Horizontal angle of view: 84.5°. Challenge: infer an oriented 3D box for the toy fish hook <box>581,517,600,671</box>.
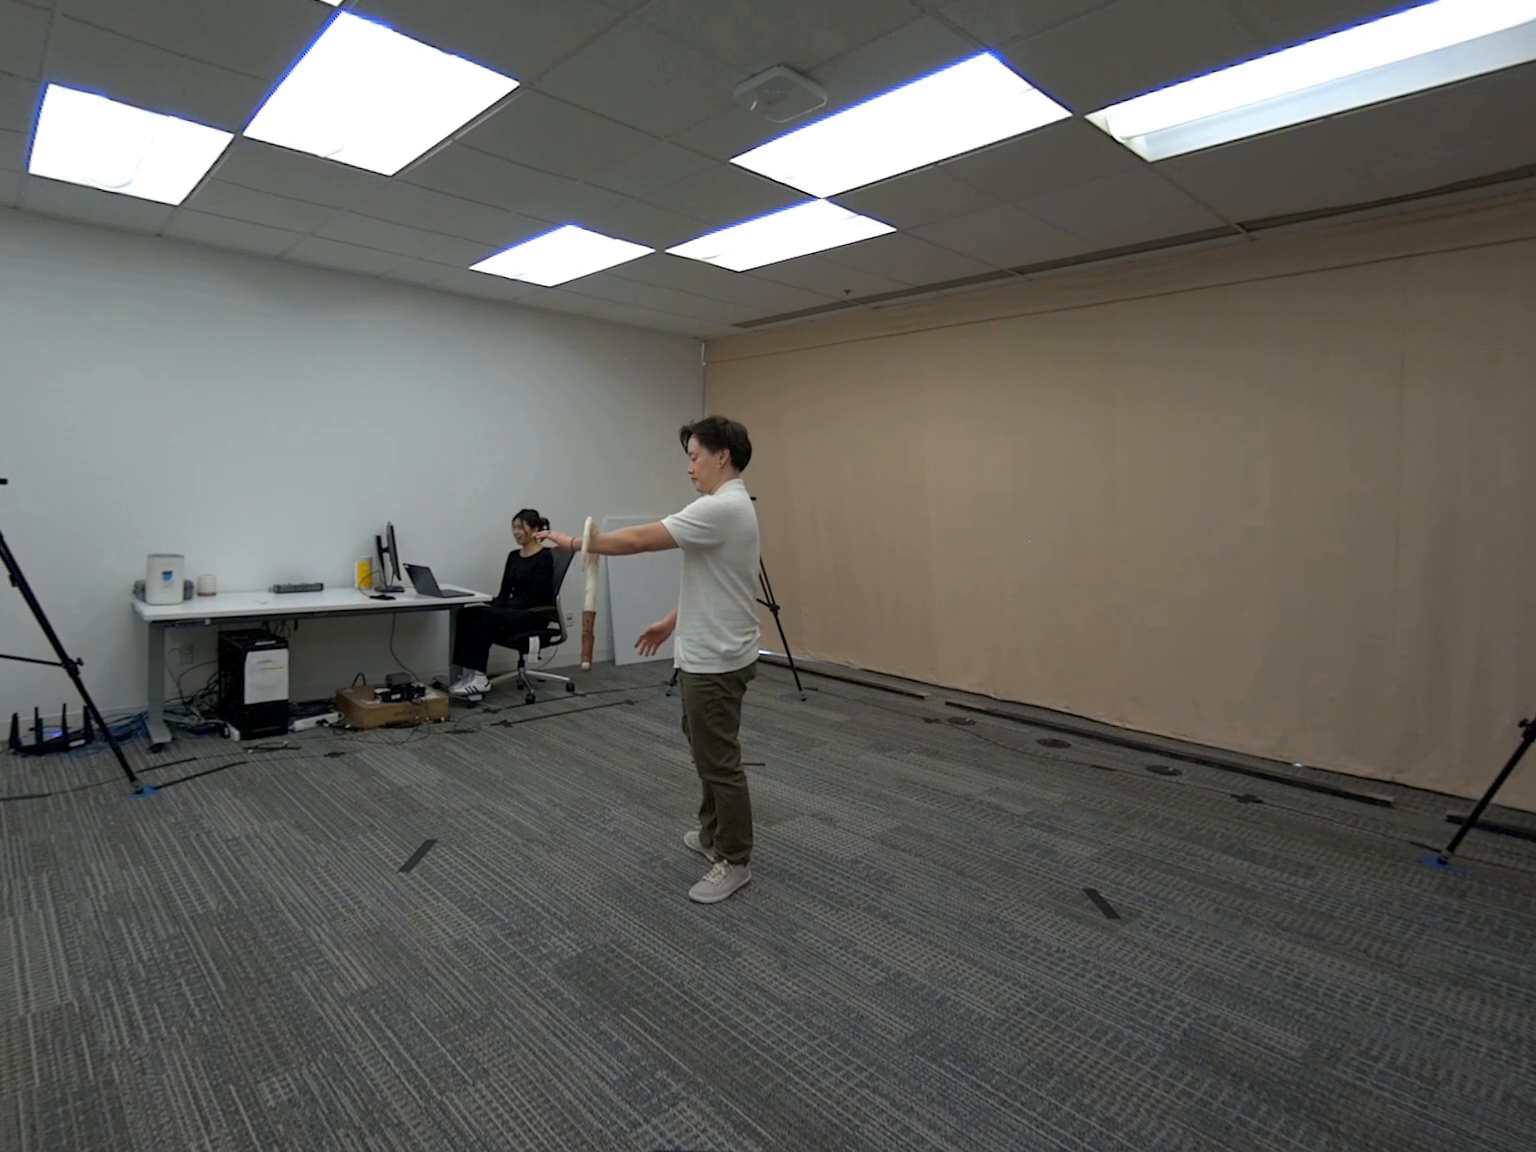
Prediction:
[{"bbox_3d":[-0.608,0.063,2.810,0.048,0.511,0.222,0,-13,2],"label":"toy fish hook"}]
